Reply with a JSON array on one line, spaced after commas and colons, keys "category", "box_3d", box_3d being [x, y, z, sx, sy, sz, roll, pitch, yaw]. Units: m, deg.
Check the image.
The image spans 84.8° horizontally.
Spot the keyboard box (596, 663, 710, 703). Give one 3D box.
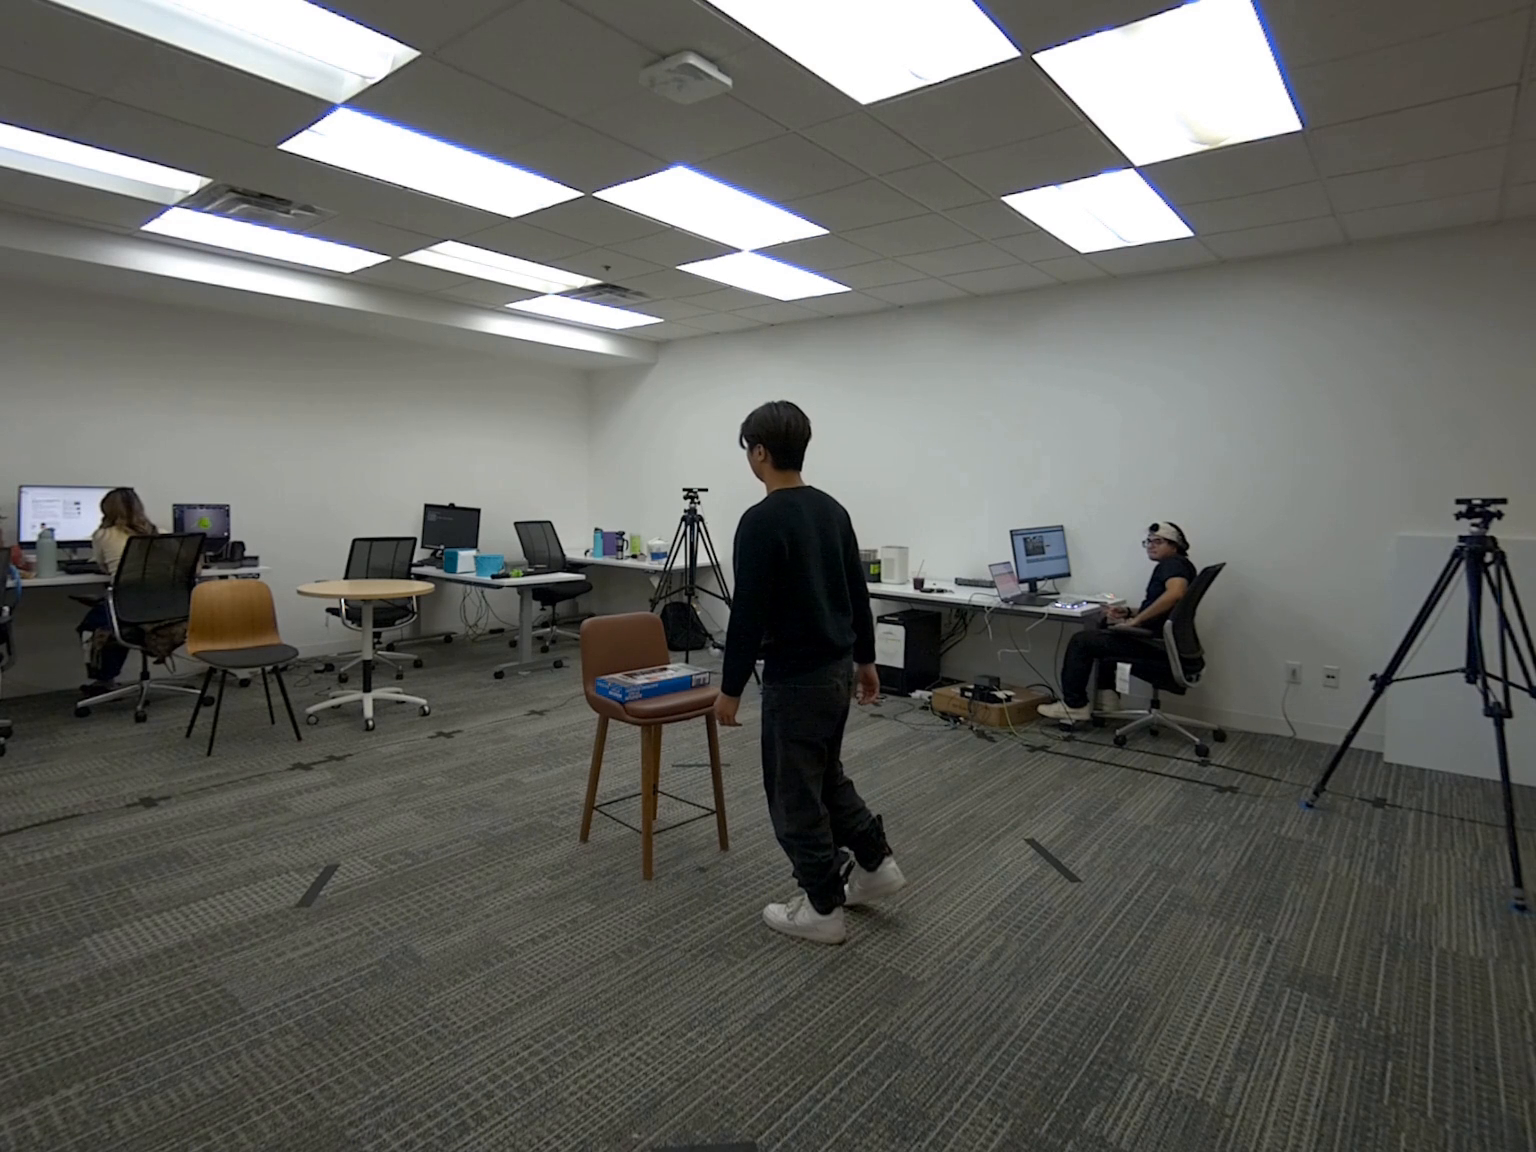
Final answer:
[{"category": "keyboard box", "box_3d": [-0.447, 0.400, 3.282, 0.182, 0.059, 0.424, 8, 9, 42]}]
